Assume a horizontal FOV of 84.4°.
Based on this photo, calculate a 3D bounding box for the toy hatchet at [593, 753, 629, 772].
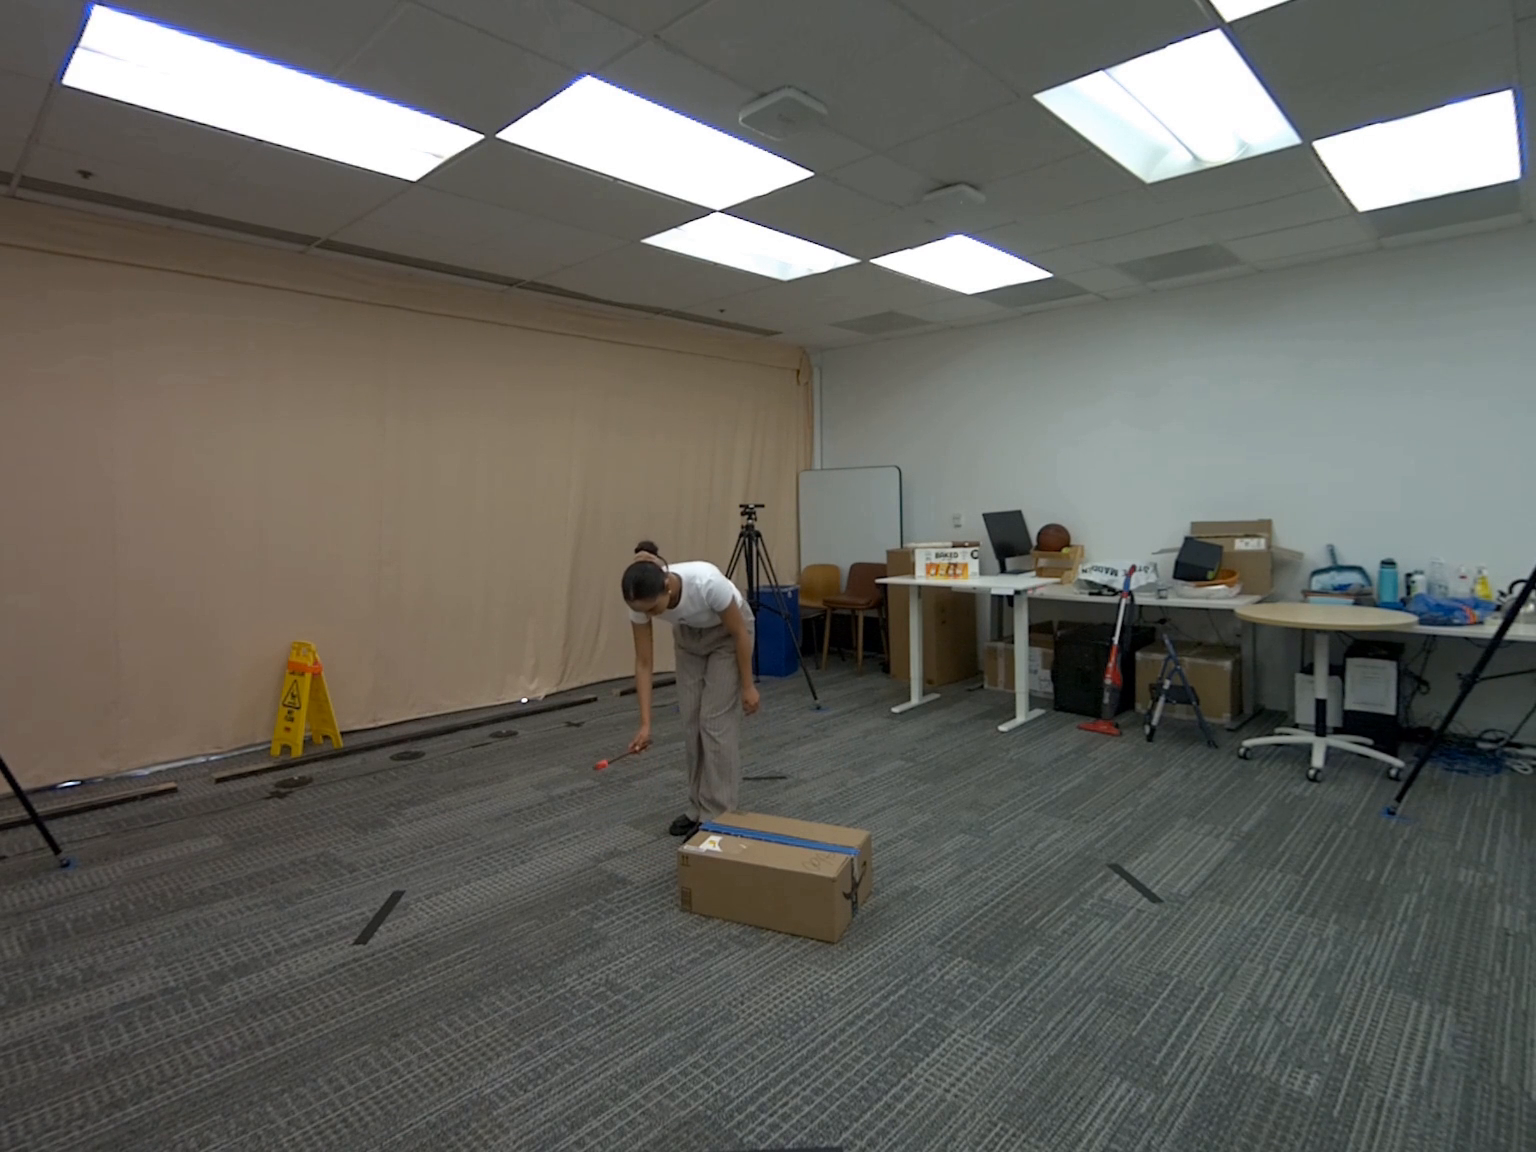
[{"bbox_3d":[-0.580,0.732,3.369,0.133,0.030,0.263,-30,-9,41],"label":"toy hatchet"}]
